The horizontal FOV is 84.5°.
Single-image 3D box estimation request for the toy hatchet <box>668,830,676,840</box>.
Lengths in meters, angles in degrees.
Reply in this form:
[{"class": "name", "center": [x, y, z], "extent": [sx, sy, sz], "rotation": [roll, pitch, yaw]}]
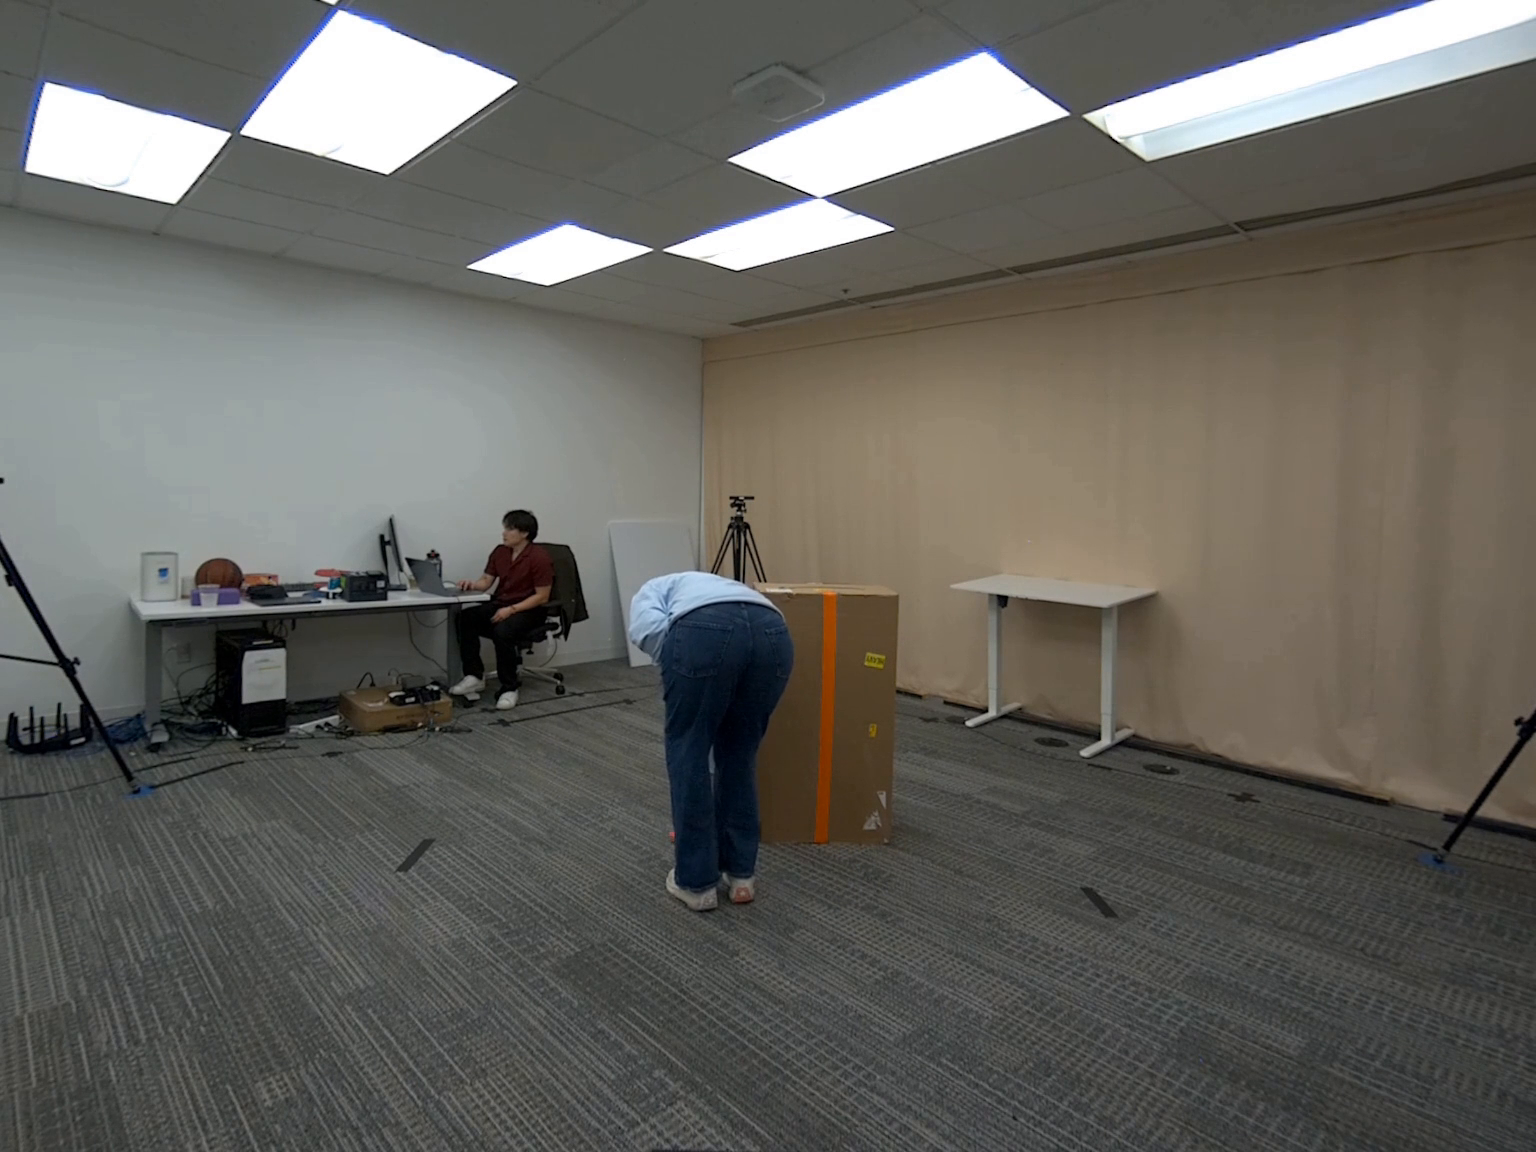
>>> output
[{"class": "toy hatchet", "center": [-0.311, 1.057, 3.331], "extent": [0.128, 0.029, 0.276], "rotation": [11, -2, -28]}]
